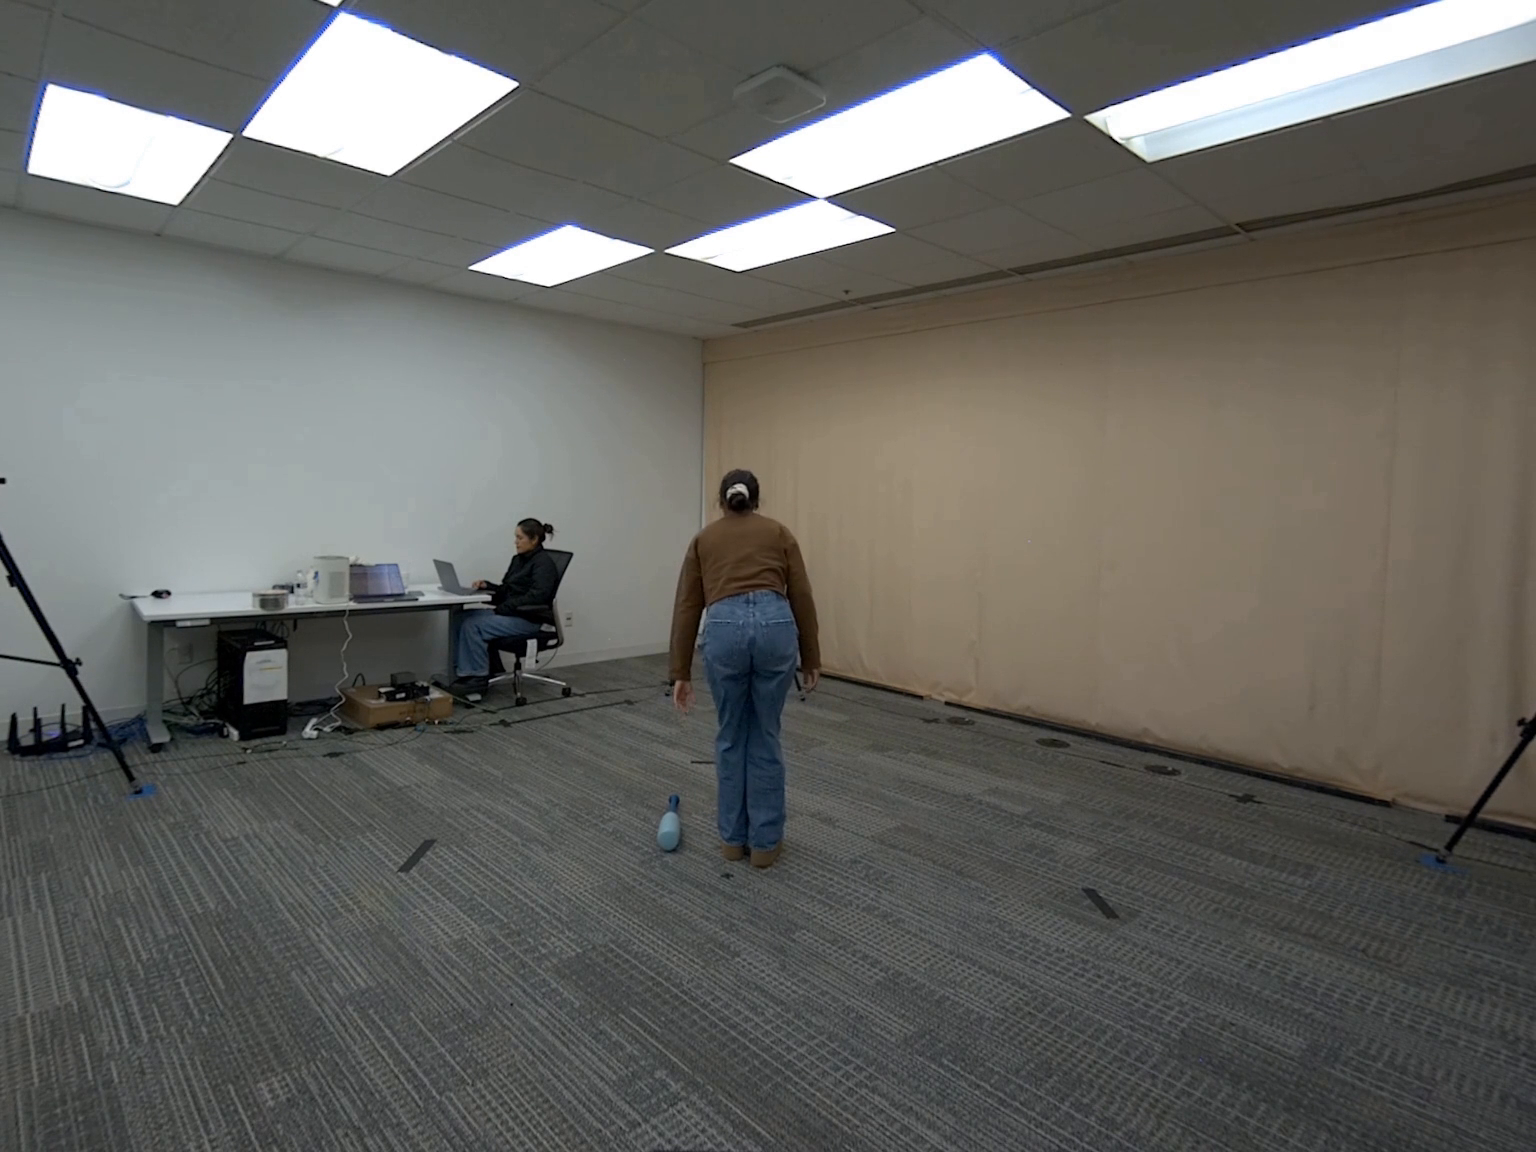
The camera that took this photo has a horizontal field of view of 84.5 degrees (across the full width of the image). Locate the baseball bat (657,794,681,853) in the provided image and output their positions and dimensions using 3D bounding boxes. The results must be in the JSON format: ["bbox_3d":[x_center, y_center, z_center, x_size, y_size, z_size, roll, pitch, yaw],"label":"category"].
[{"bbox_3d":[-0.415,1.025,3.553,0.089,0.089,0.544,1,3,-3],"label":"baseball bat"}]
